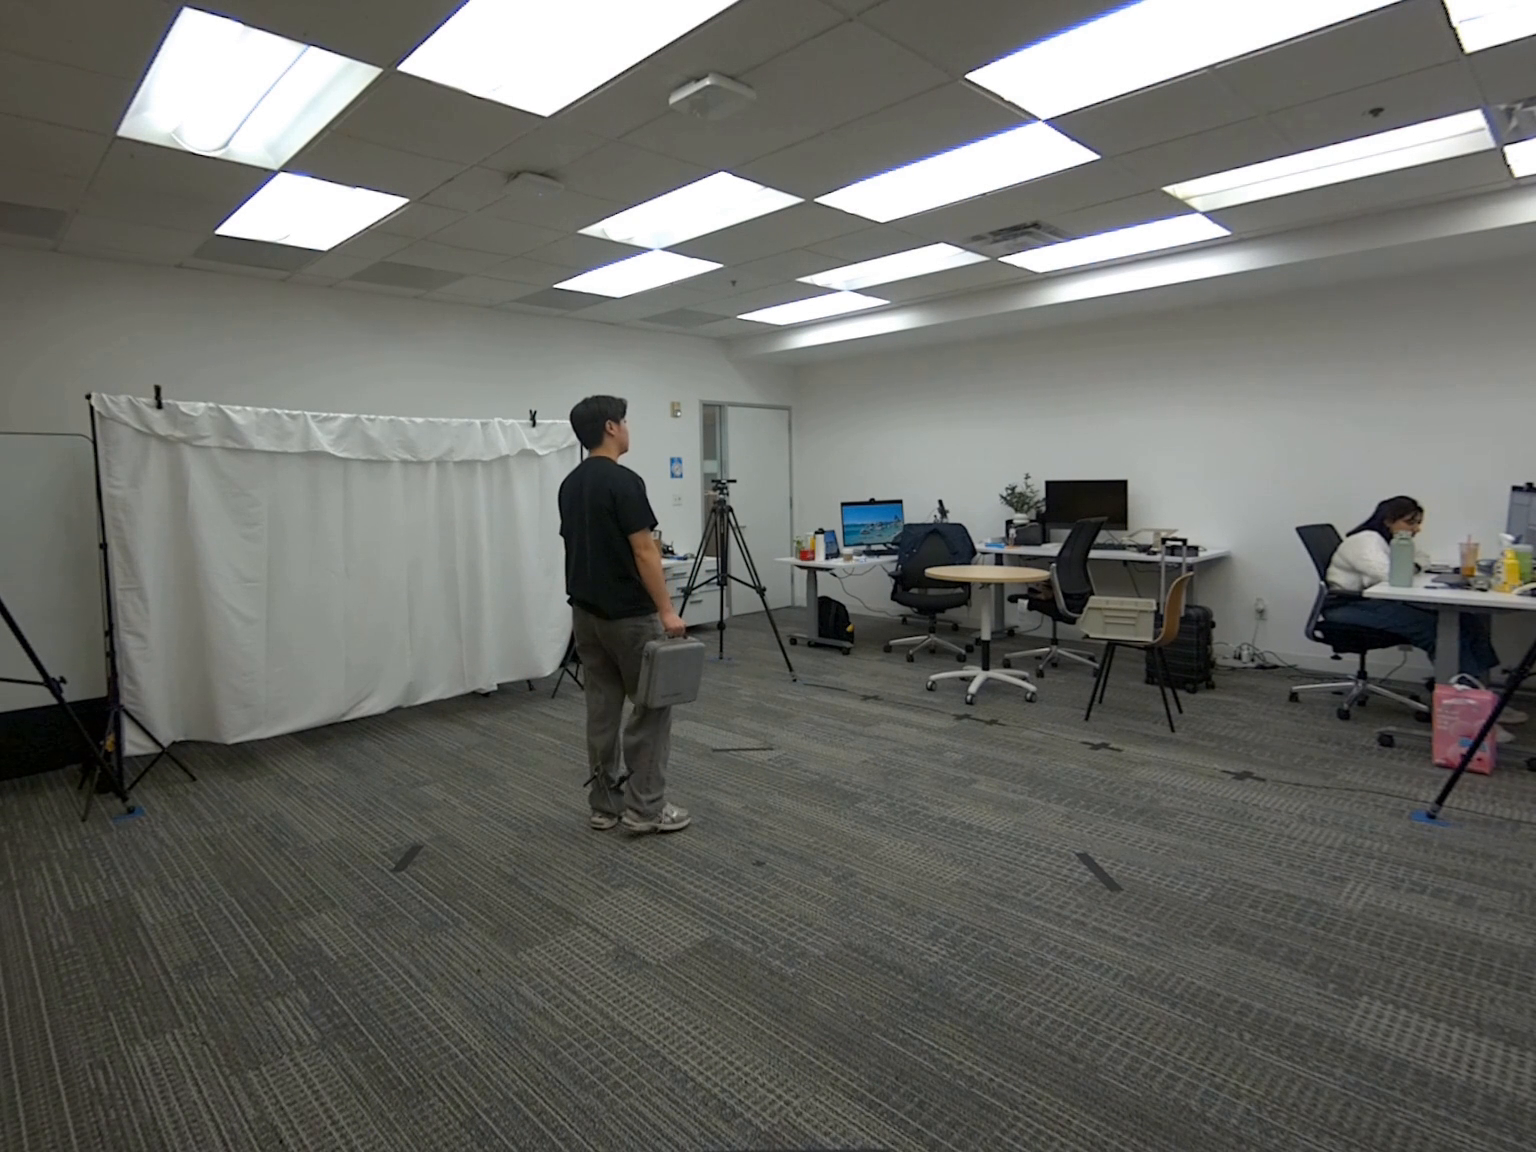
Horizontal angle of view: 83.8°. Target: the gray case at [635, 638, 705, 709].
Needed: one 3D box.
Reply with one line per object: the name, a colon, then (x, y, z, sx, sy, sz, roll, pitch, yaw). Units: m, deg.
gray case: (-0.380, 0.359, 3.332, 0.255, 0.285, 0.107, 0, 13, -44)
